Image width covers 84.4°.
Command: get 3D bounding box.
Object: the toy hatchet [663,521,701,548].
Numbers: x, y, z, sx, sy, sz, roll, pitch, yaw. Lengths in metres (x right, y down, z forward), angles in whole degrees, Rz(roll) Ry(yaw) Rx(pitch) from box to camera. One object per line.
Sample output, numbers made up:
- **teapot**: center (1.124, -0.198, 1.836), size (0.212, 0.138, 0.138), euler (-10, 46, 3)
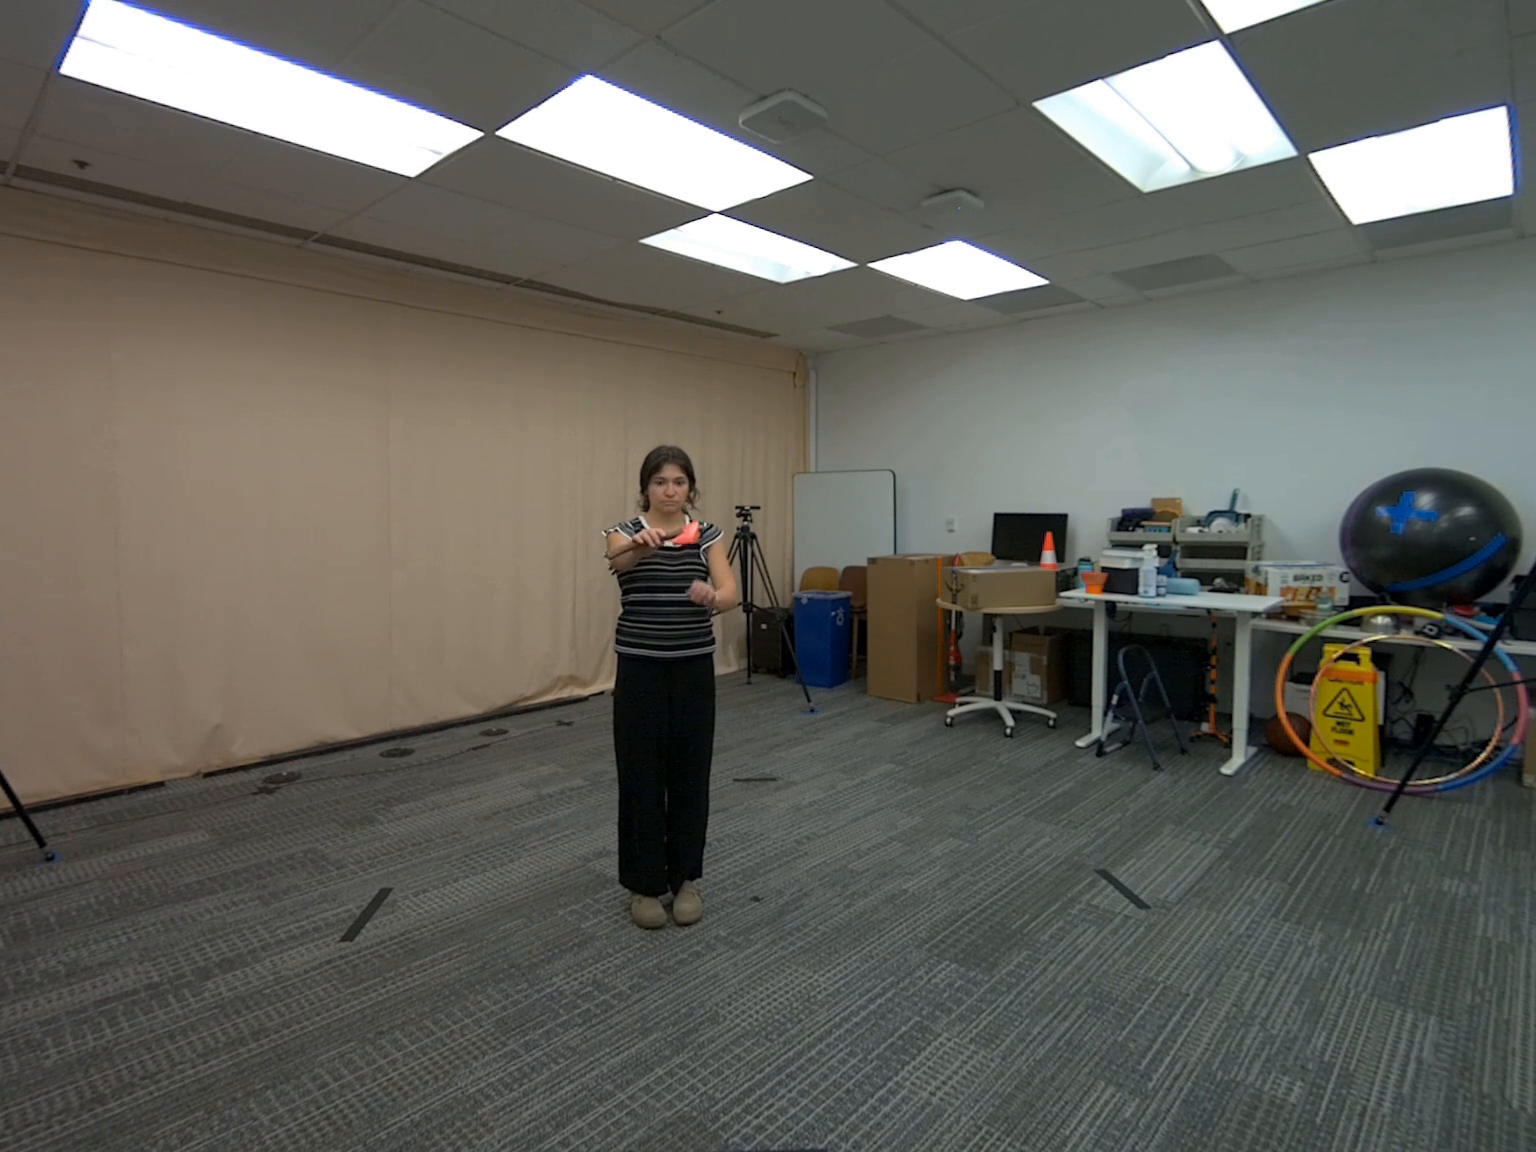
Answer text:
- **toy hatchet**: center (-0.300, -0.083, 2.254), size (0.269, 0.029, 0.135), euler (-22, 30, -6)
